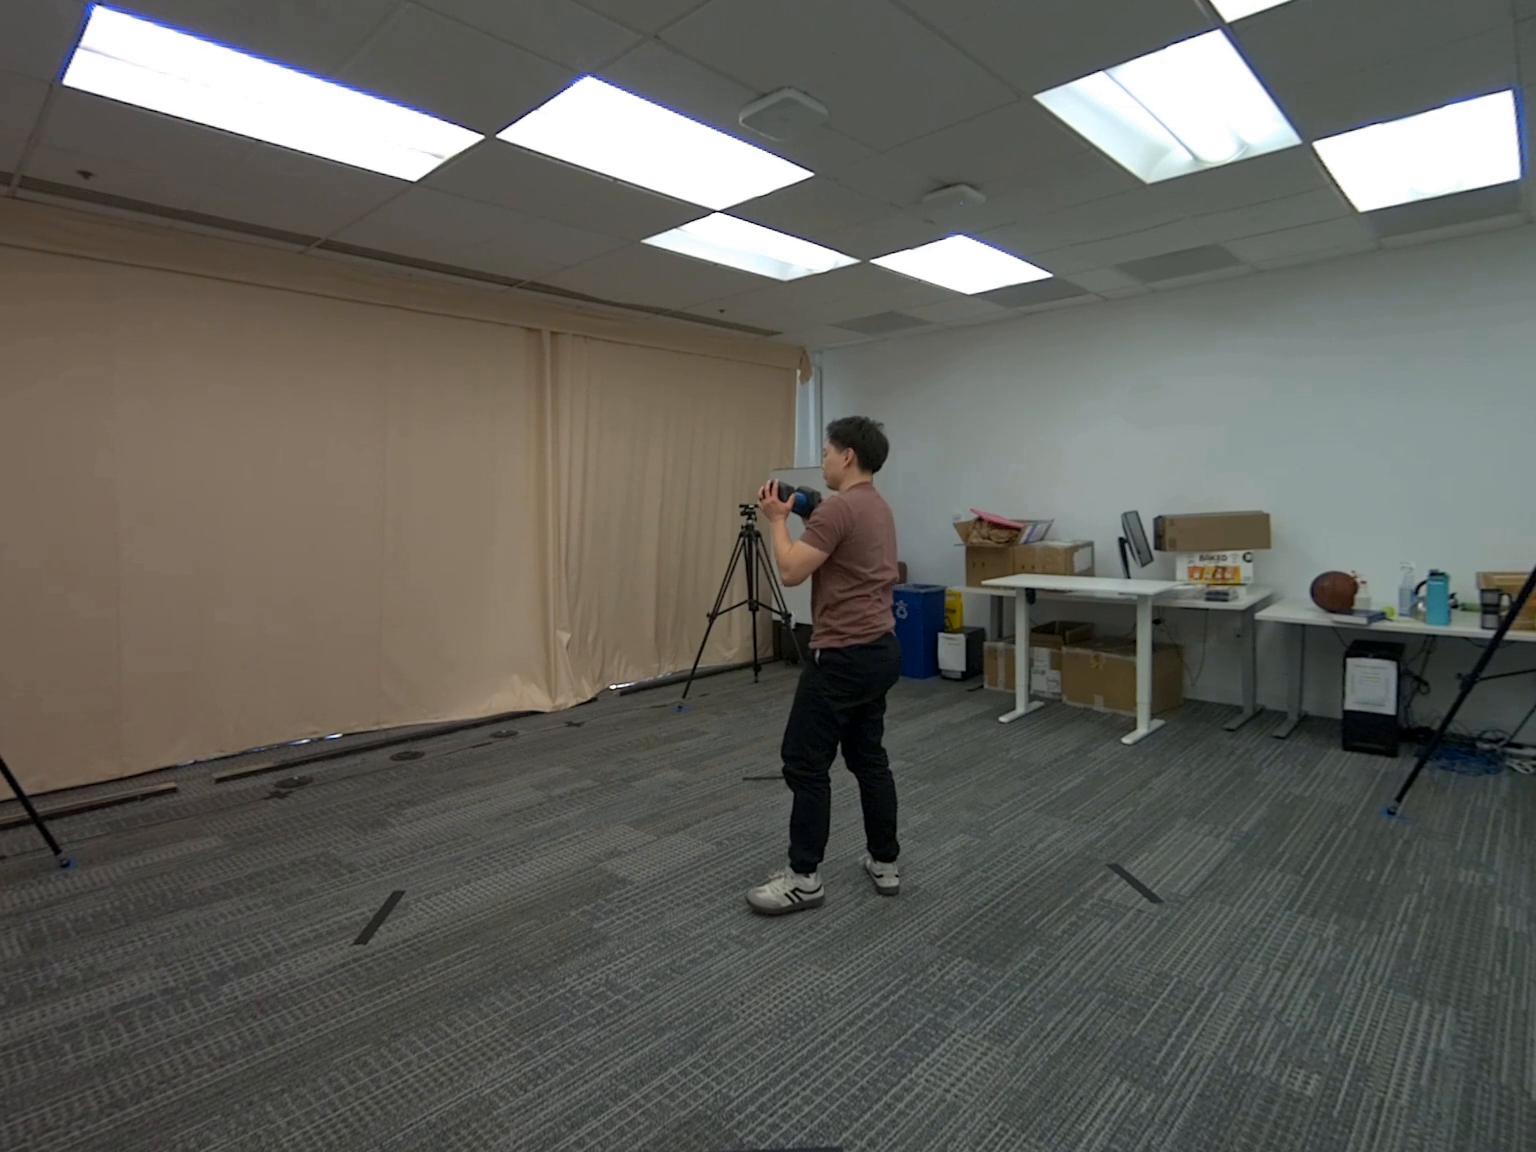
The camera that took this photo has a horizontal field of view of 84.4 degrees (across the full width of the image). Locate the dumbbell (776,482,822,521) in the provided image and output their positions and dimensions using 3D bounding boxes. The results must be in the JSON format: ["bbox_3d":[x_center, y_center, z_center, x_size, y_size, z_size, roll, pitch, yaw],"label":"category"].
[{"bbox_3d":[0.089,-0.277,3.104,0.127,0.108,0.284,28,13,30],"label":"dumbbell"}]
